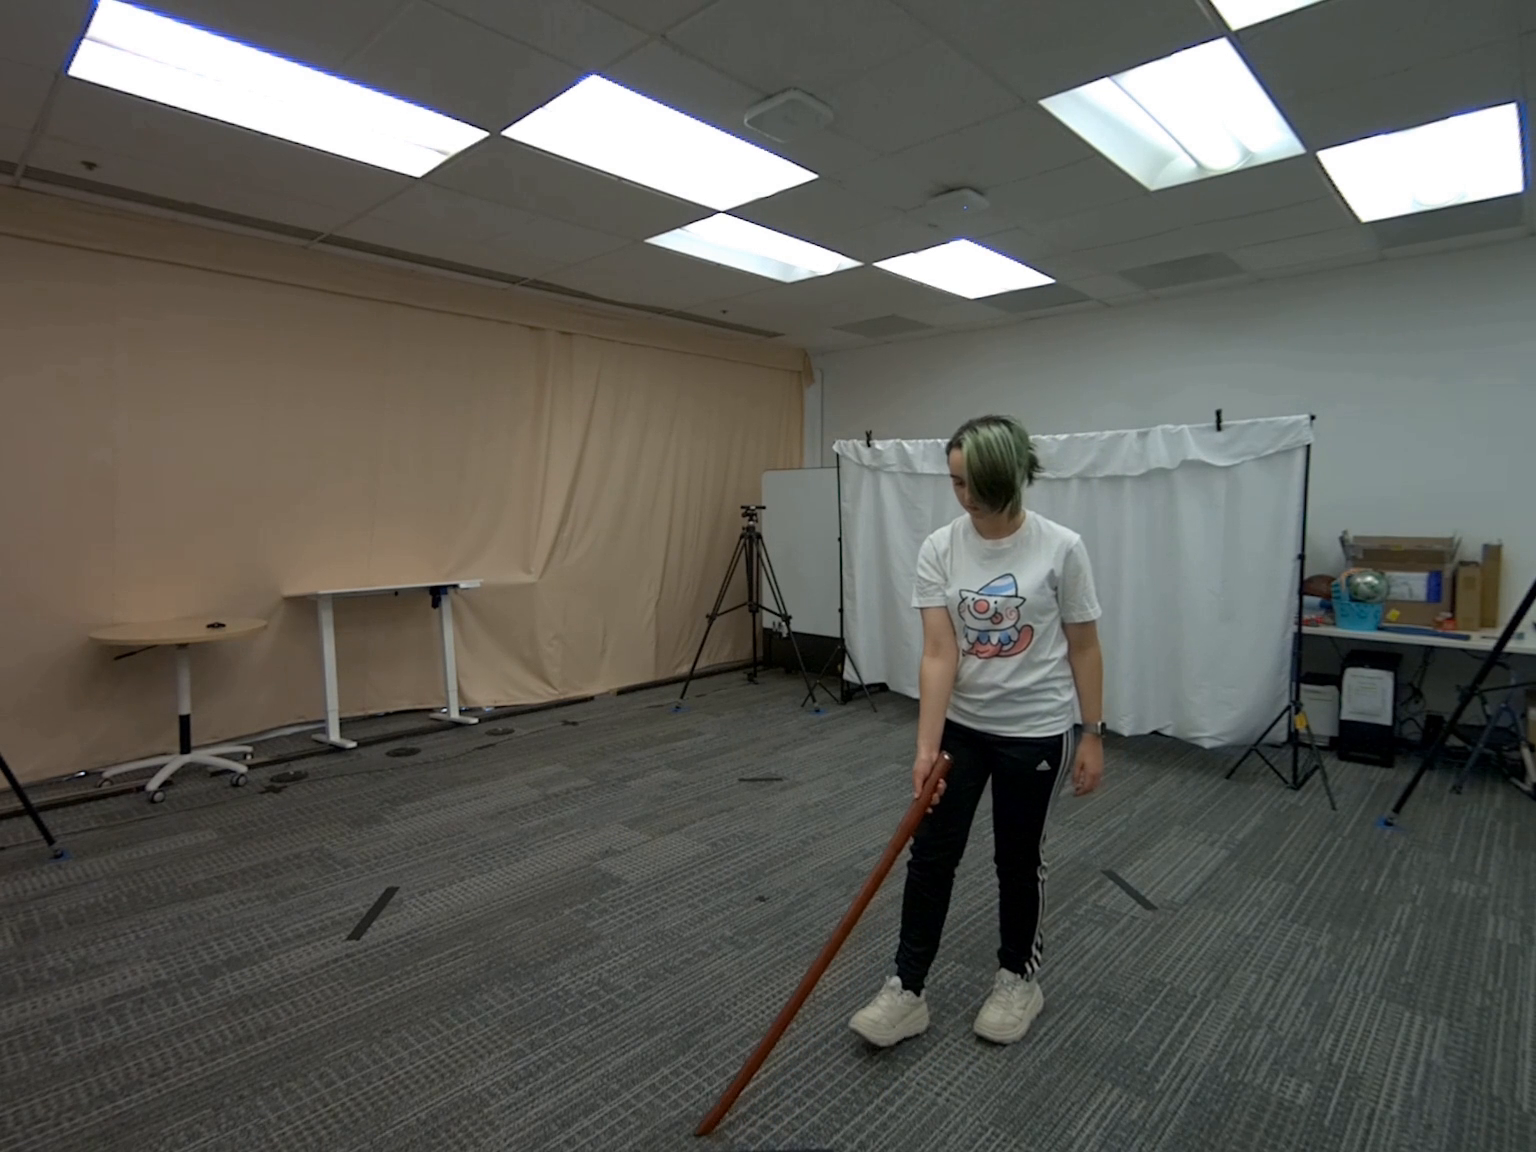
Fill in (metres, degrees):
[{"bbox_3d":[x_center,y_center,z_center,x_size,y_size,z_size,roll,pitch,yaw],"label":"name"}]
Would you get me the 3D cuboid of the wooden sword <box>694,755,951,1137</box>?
[{"bbox_3d":[0.158,0.857,1.974,0.053,1.022,0.023,18,-24,51],"label":"wooden sword"}]
